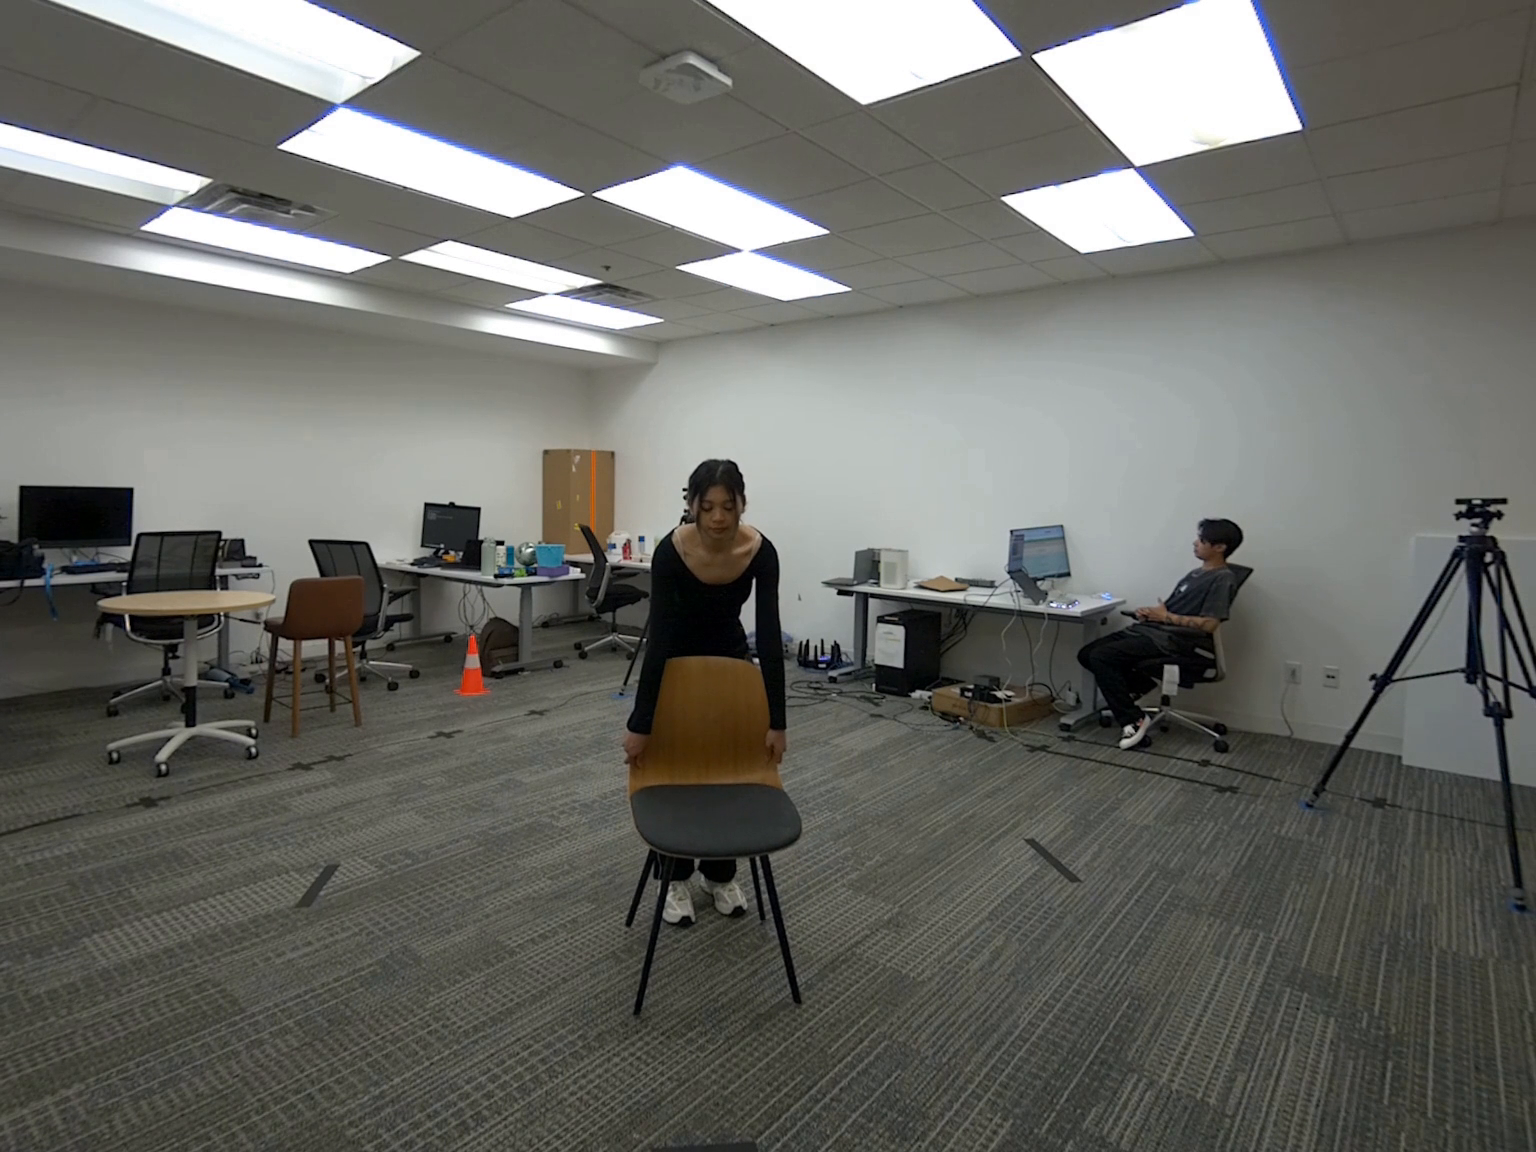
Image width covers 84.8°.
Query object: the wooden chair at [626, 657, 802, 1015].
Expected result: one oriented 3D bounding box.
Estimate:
[{"bbox_3d":[-0.165,0.700,2.443,0.473,0.877,0.529,2,0,-11],"label":"wooden chair"}]
